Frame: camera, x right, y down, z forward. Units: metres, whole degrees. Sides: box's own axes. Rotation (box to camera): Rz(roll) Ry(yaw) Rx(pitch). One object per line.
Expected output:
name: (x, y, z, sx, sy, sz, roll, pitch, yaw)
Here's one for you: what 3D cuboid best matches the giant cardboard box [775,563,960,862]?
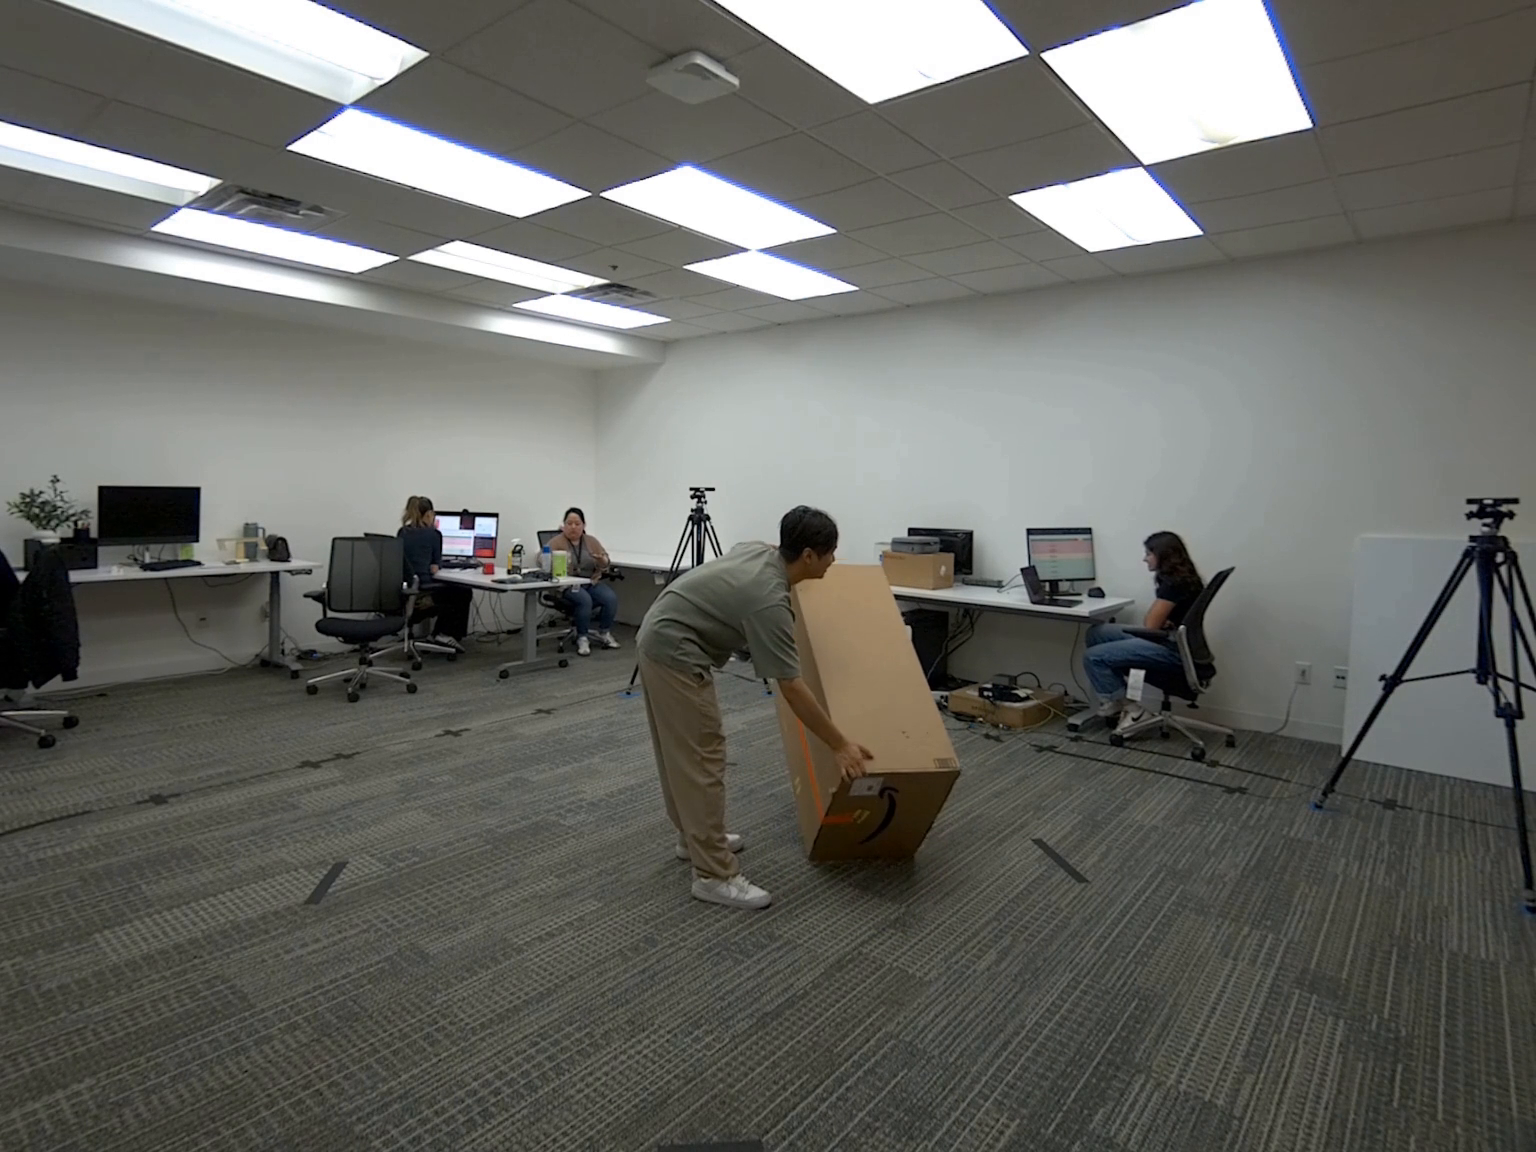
giant cardboard box: (0.322, 0.520, 3.415, 0.420, 0.566, 1.062, 2, 42, -15)
